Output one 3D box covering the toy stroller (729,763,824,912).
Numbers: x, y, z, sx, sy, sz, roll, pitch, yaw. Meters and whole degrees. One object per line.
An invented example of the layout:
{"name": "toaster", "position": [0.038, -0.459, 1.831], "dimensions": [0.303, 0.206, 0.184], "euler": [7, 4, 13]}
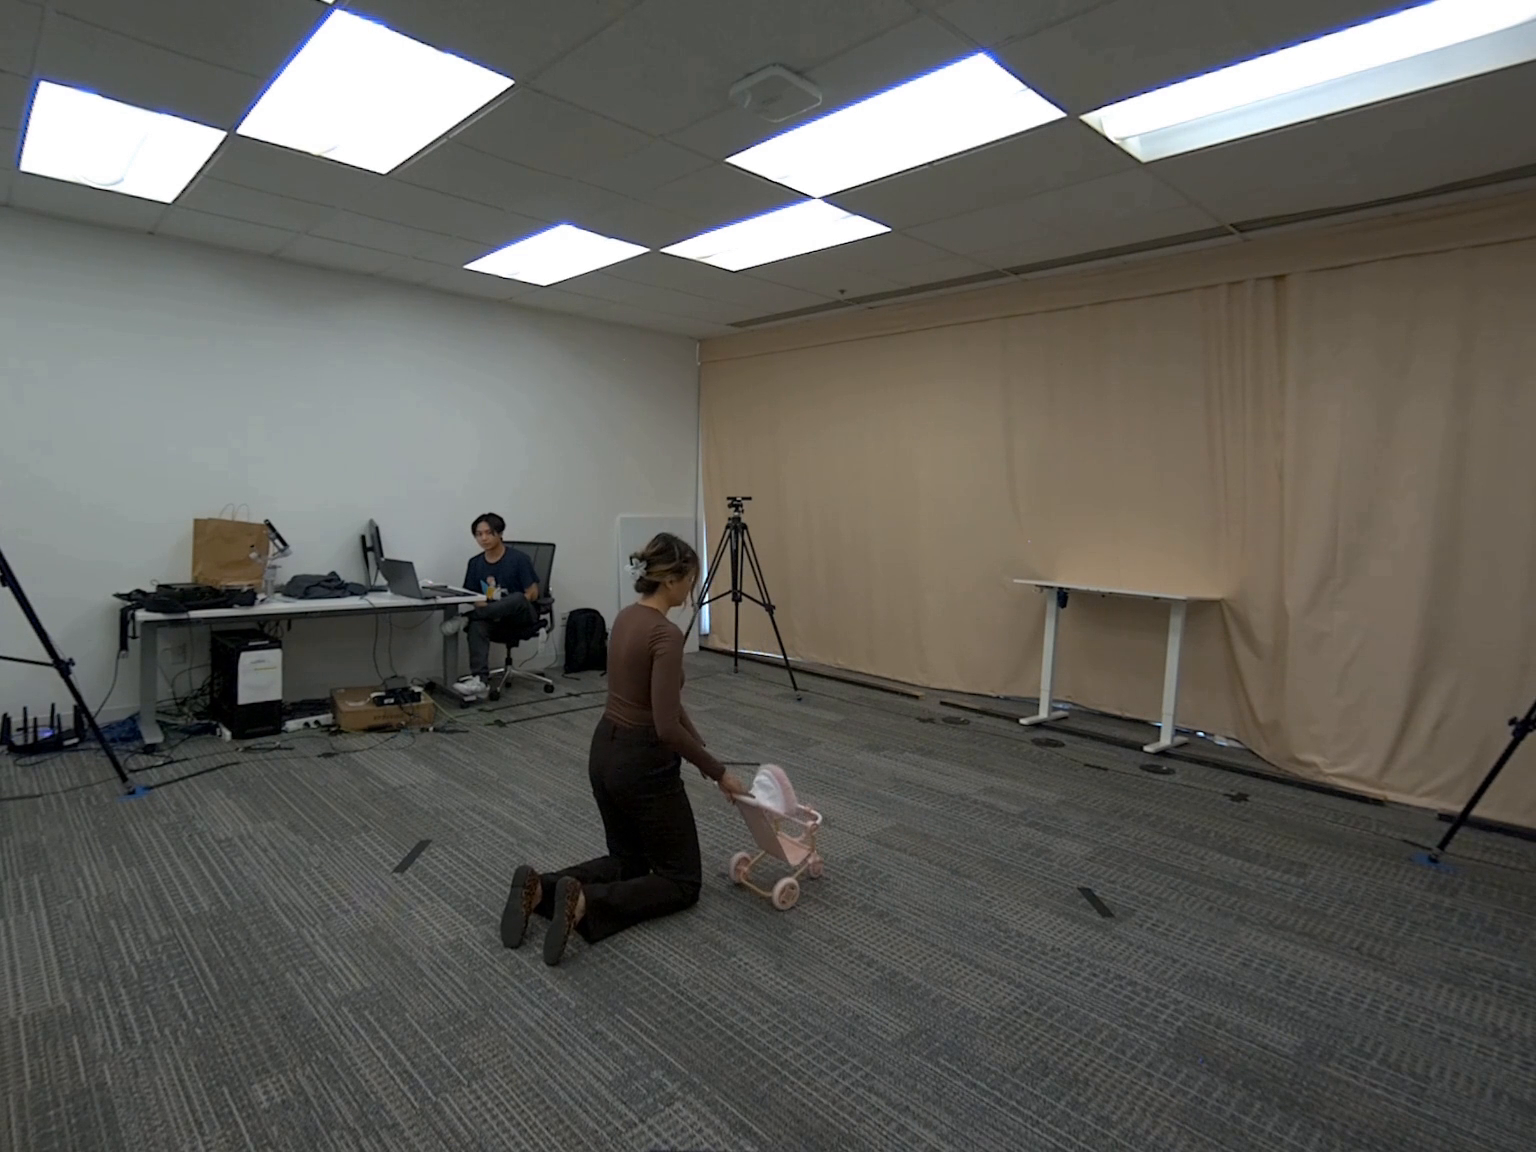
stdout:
{"name": "toy stroller", "position": [0.033, 0.897, 2.979], "dimensions": [0.337, 0.528, 0.288], "euler": [-22, 17, -32]}
